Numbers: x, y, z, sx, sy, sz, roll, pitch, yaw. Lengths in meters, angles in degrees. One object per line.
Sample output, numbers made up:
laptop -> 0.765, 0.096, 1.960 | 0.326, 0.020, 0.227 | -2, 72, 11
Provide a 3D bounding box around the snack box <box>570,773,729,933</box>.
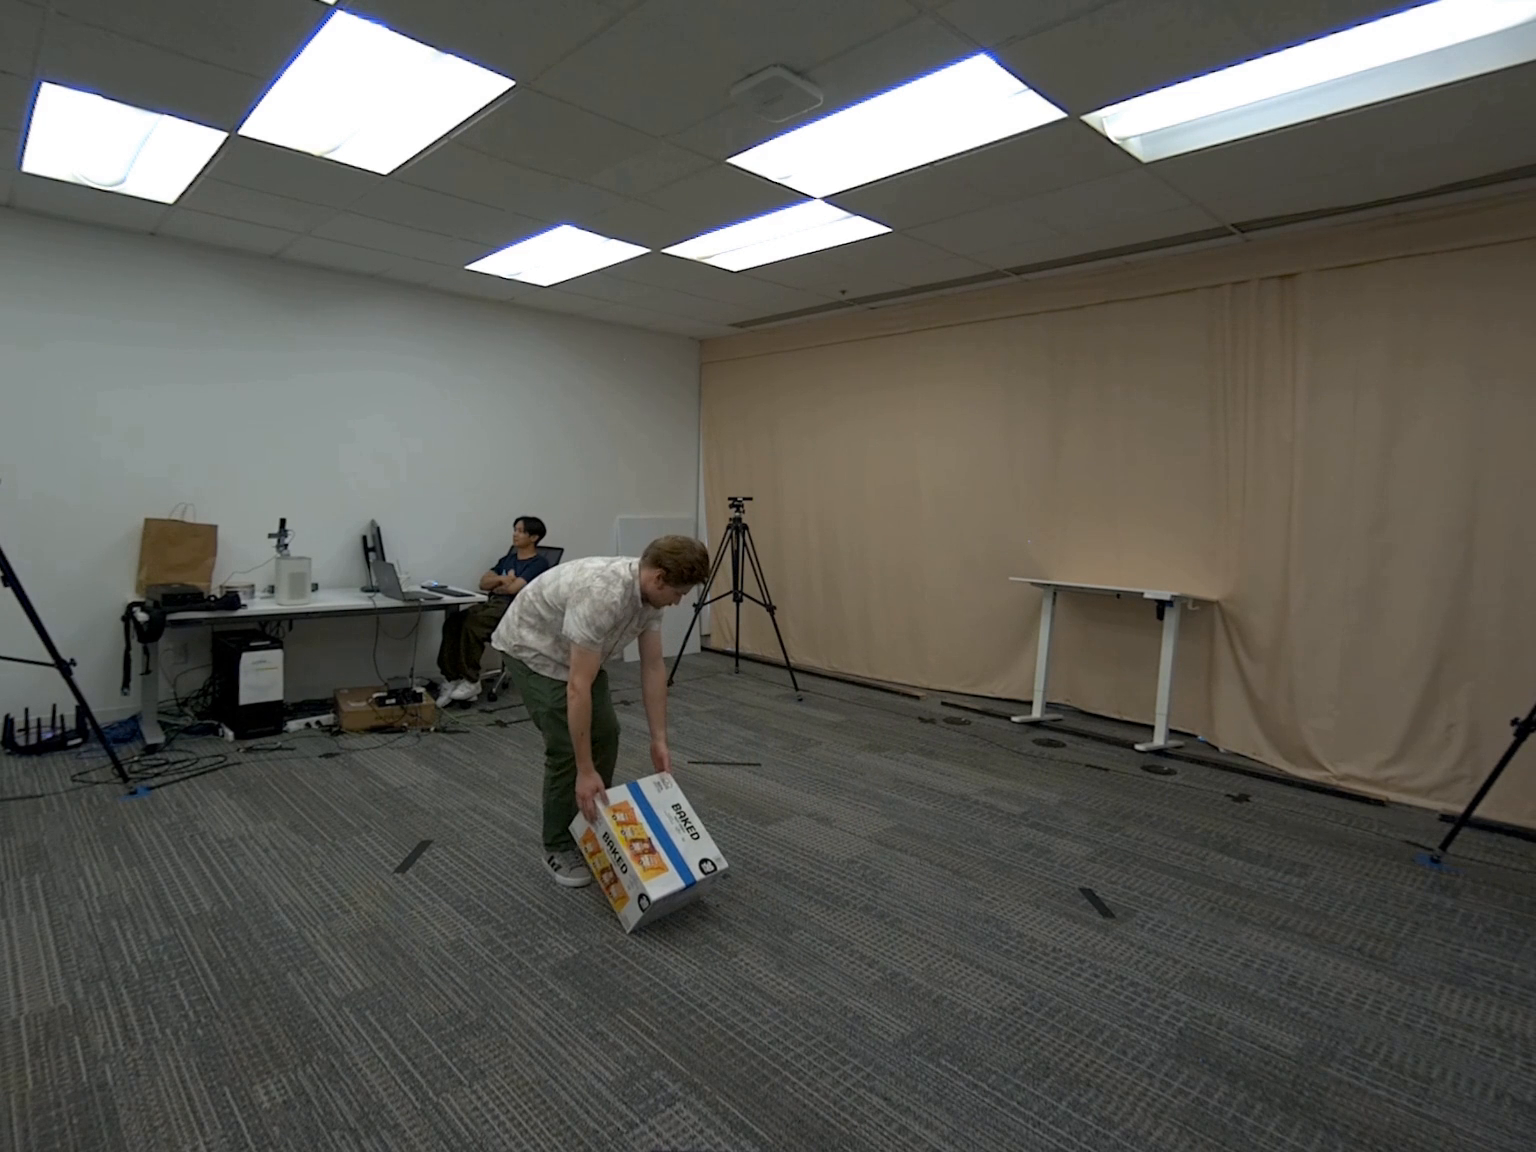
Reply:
snack box -> -0.410, 0.922, 2.845 | 0.333, 0.204, 0.416 | -5, 47, -47
